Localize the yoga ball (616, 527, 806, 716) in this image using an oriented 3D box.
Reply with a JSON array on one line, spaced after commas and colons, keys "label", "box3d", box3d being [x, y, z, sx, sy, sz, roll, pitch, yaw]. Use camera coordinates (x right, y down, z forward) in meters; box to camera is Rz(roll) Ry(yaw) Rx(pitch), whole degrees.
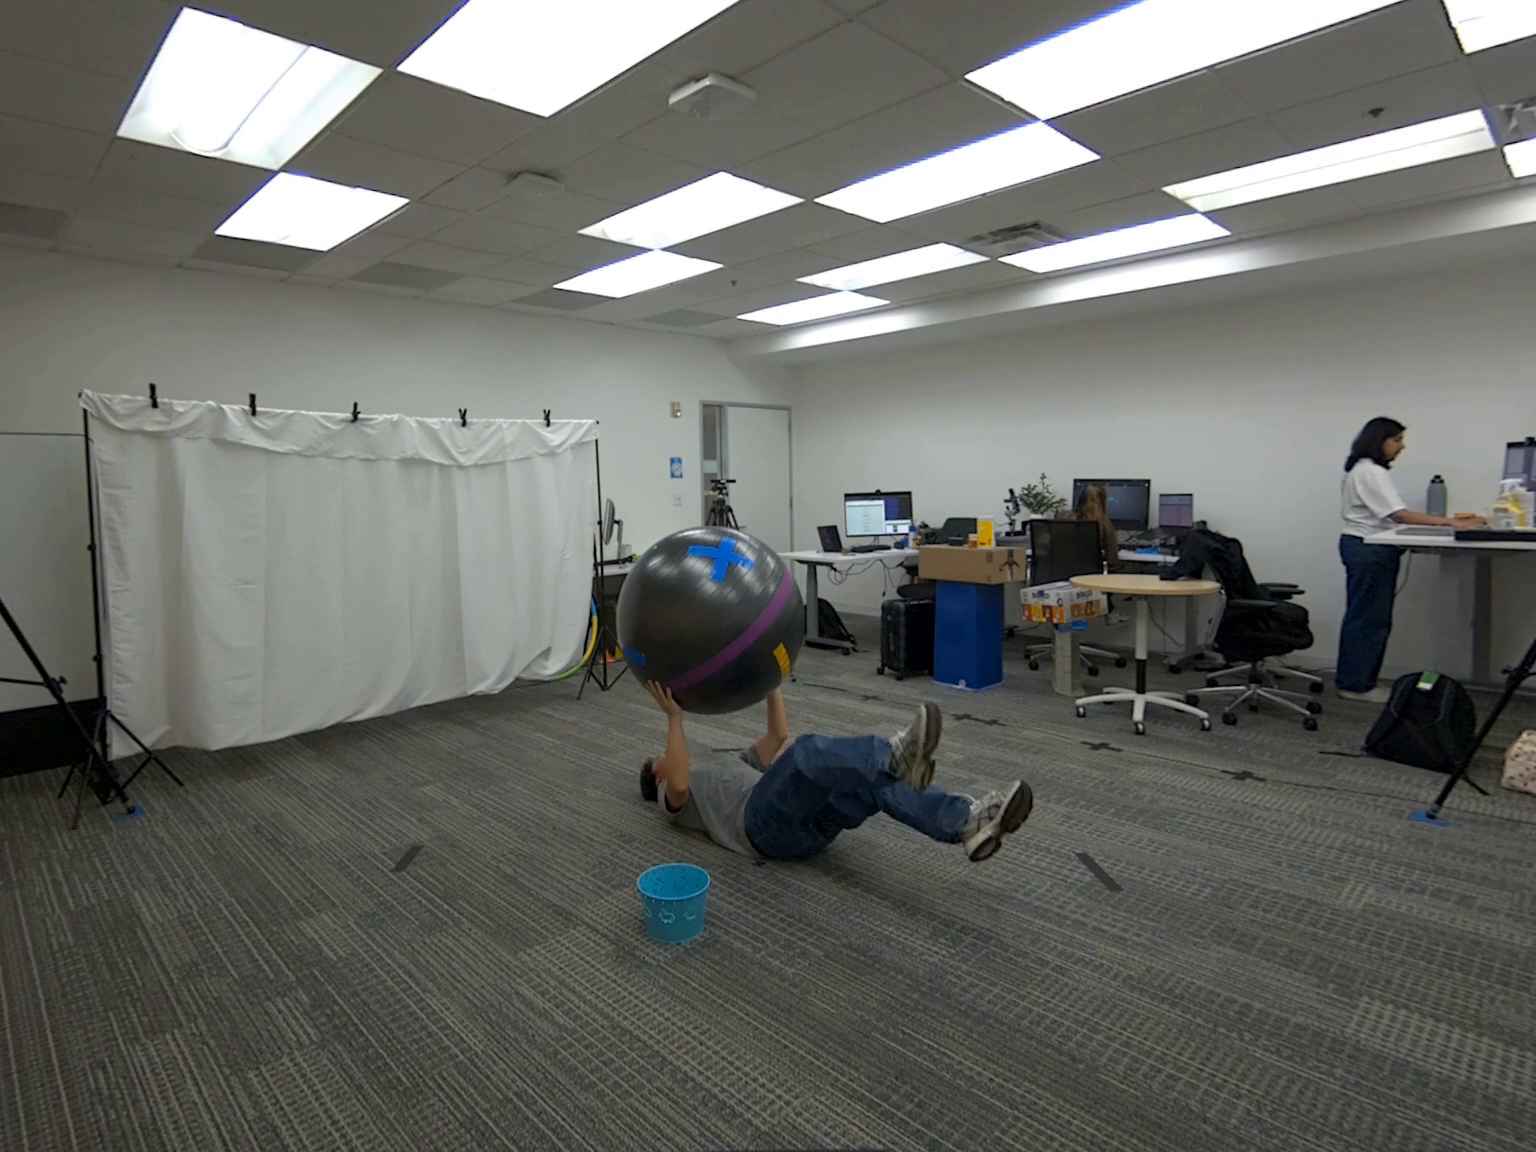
[{"label": "yoga ball", "box3d": [-0.234, 0.186, 3.450, 0.757, 0.755, 0.762, -1, 5, -2]}]
